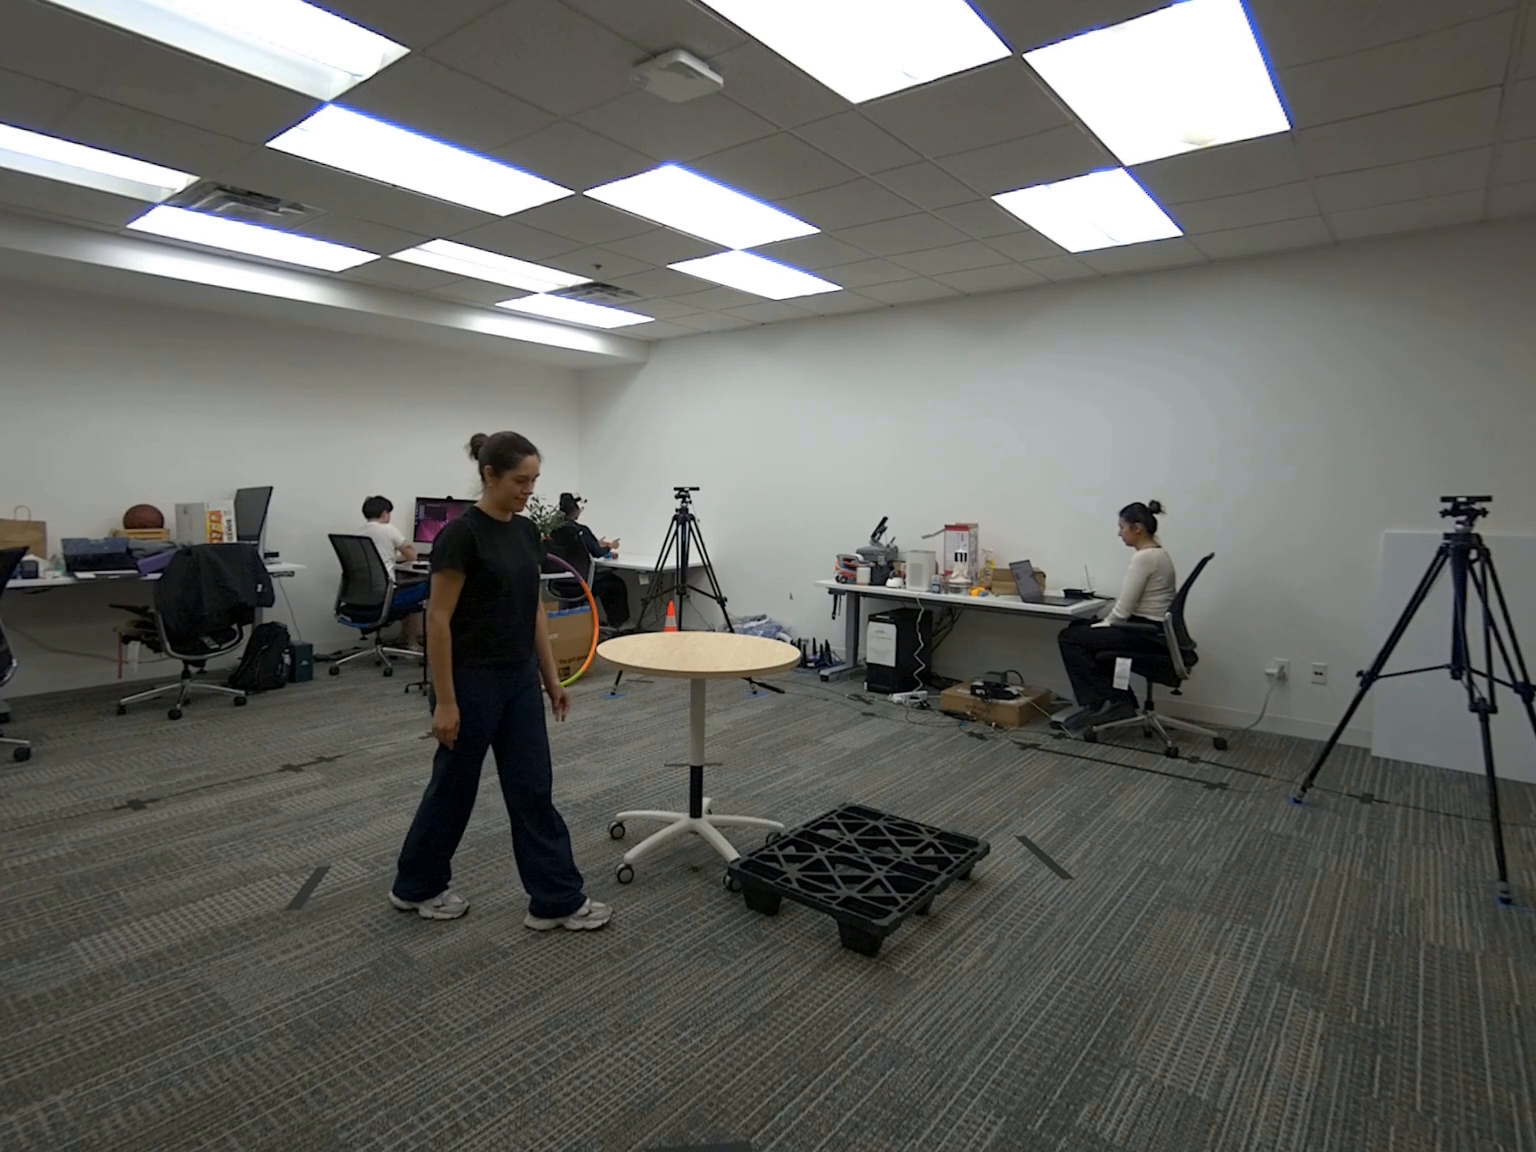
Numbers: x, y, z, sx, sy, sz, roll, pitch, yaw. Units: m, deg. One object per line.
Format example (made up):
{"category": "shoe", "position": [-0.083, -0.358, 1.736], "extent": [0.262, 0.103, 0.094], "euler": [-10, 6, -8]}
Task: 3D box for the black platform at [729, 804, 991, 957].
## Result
{"category": "black platform", "position": [0.340, 1.025, 2.962], "extent": [0.625, 0.143, 0.782], "euler": [5, 6, 37]}
